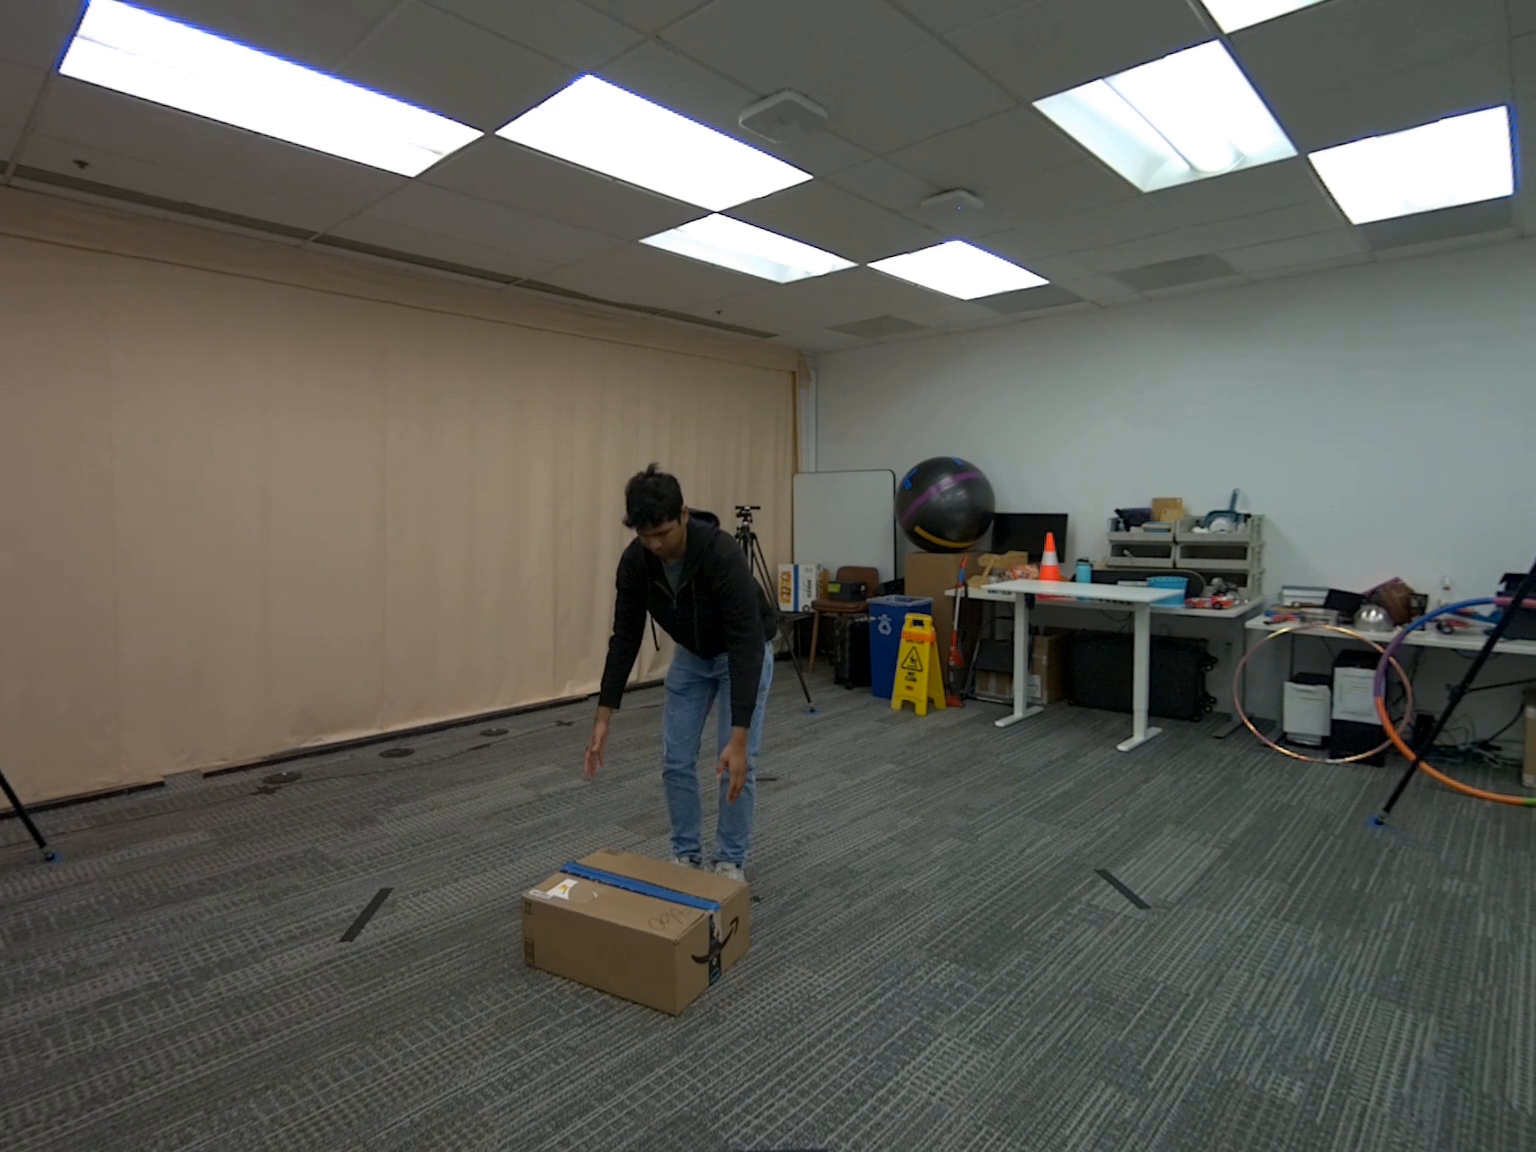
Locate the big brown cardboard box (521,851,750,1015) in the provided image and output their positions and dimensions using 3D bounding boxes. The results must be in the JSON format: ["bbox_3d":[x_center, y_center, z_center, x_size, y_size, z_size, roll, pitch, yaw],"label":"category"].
[{"bbox_3d":[-0.410,1.066,2.606,0.605,0.232,0.407,3,5,28],"label":"big brown cardboard box"}]
